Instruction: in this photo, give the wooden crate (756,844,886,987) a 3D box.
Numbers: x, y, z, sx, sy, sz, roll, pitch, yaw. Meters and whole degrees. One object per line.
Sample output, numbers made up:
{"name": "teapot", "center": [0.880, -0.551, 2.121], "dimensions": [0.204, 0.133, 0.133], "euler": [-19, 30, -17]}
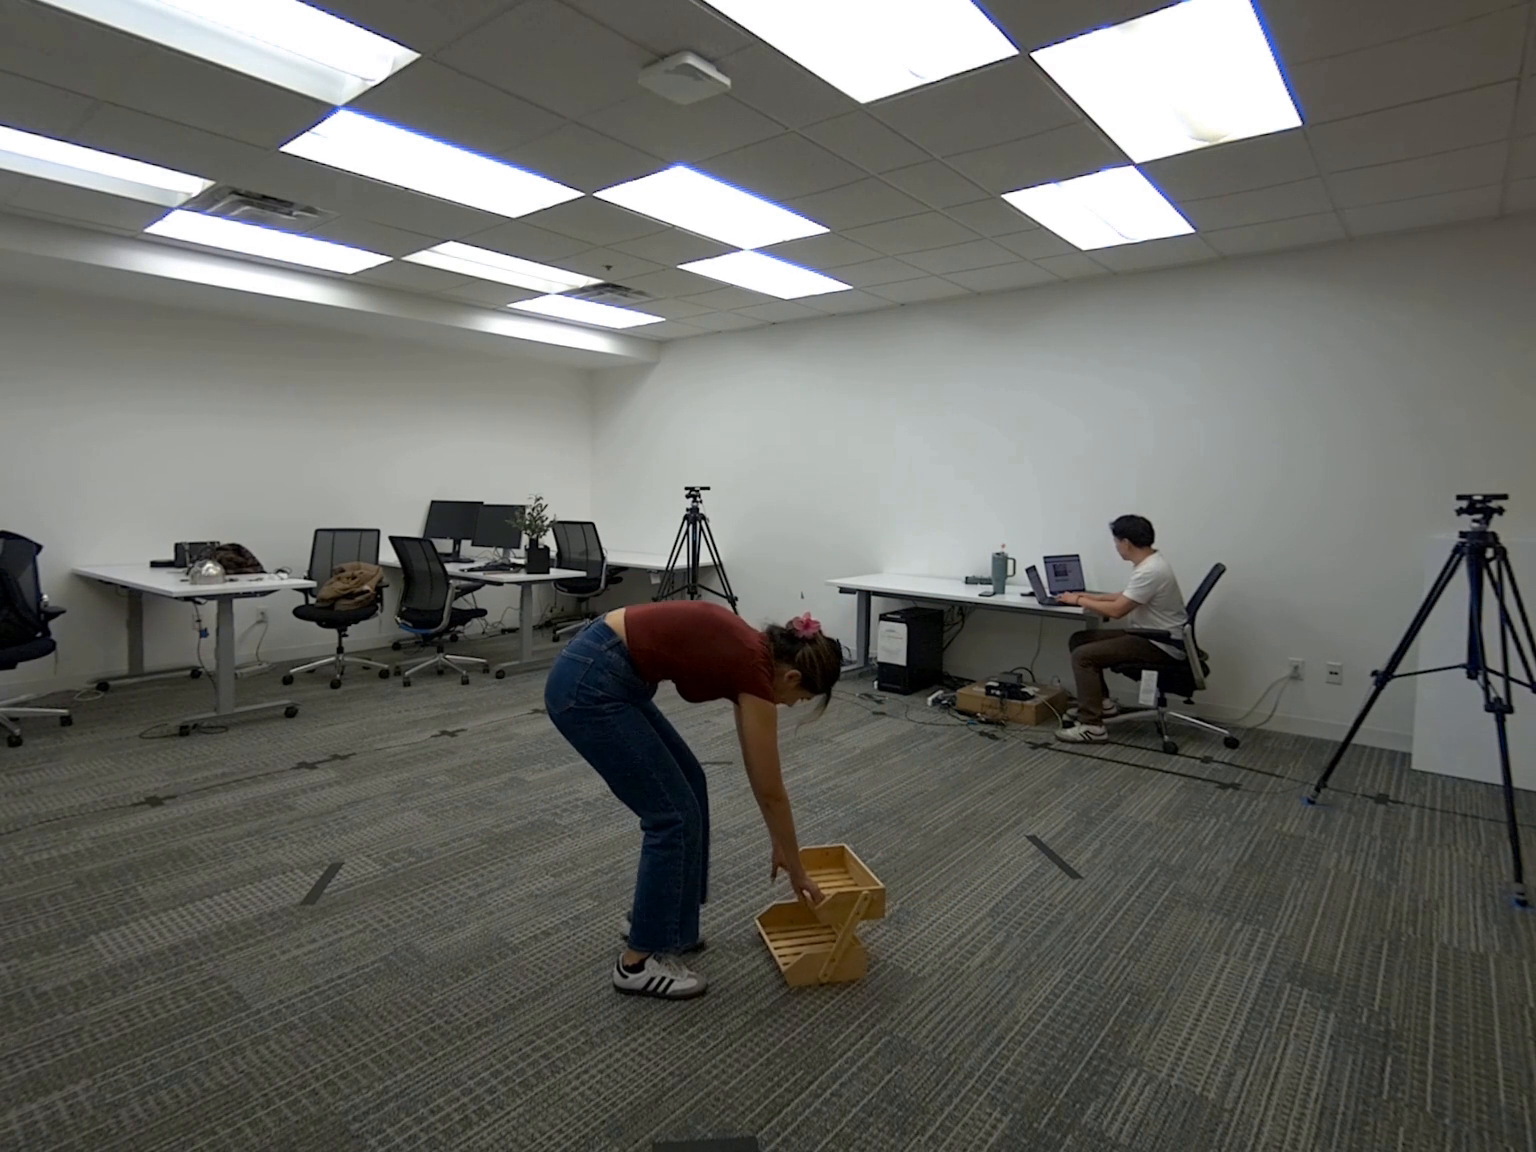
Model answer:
{"name": "wooden crate", "center": [0.135, 0.995, 2.536], "dimensions": [0.297, 0.272, 0.331], "euler": [0, 5, -16]}
